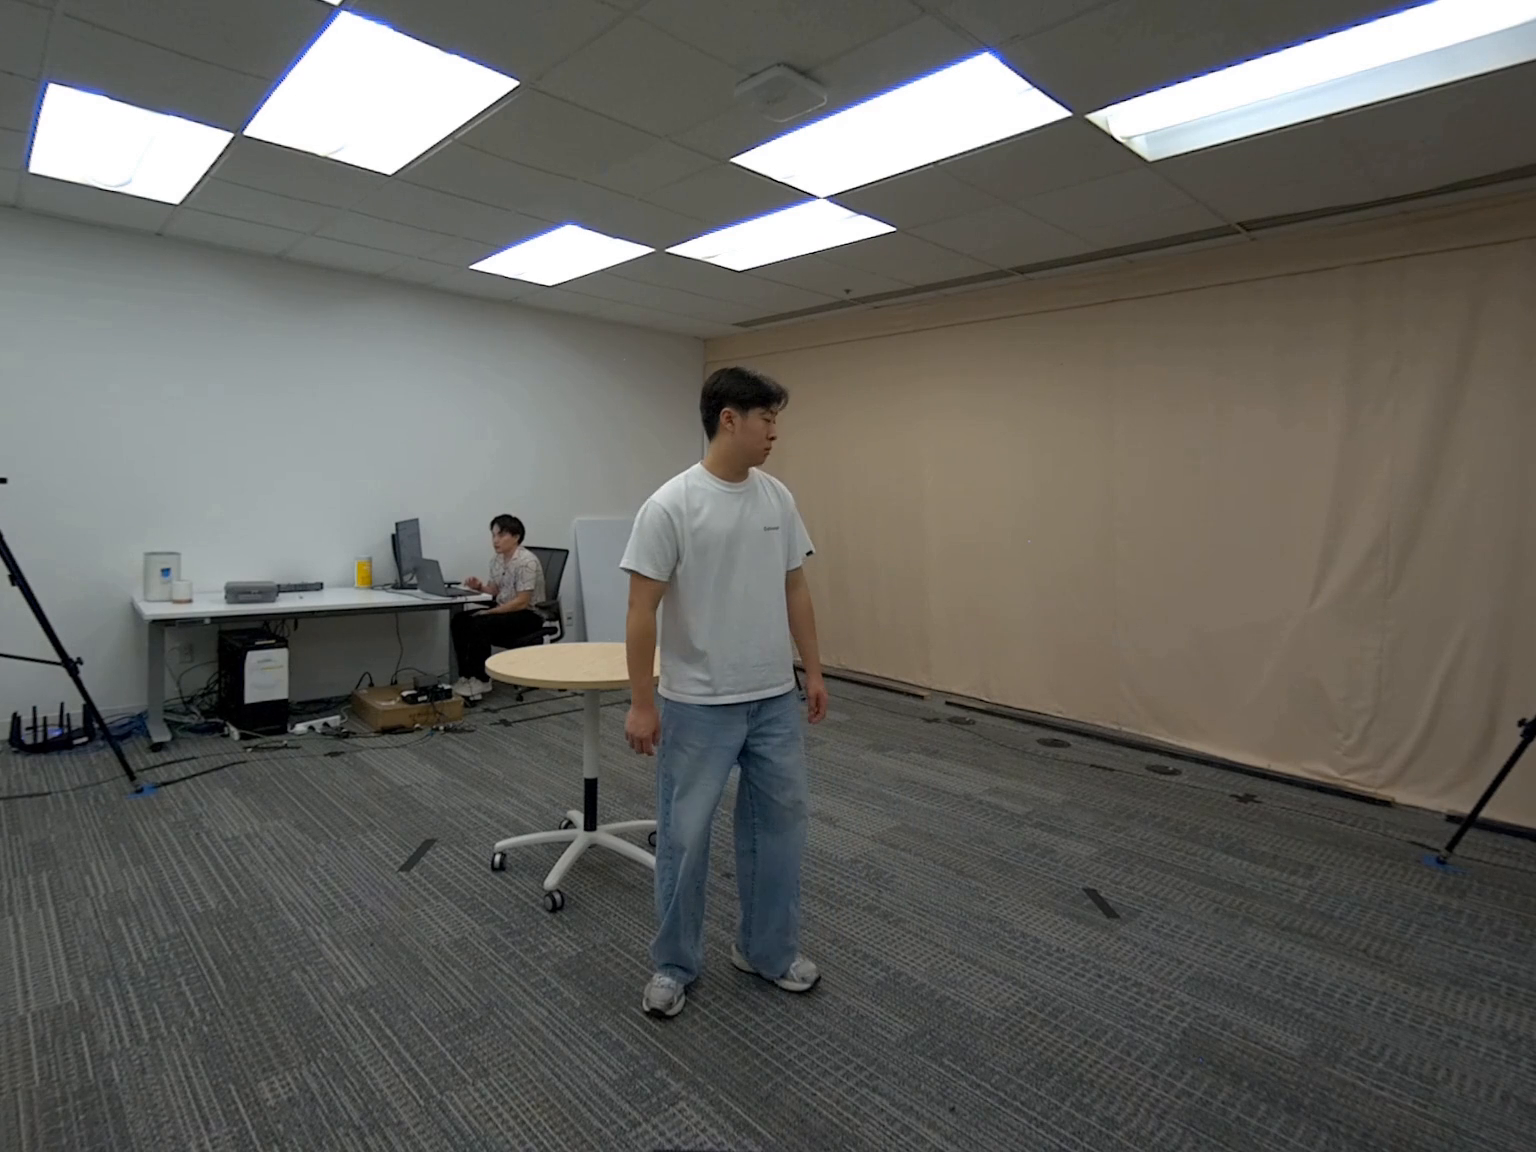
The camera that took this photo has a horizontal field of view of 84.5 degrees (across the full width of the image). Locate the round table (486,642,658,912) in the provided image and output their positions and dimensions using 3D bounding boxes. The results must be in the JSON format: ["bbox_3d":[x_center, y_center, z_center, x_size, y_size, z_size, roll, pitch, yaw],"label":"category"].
[{"bbox_3d":[-0.667,0.697,3.148,0.784,0.784,0.788,1,4,-1],"label":"round table"}]
